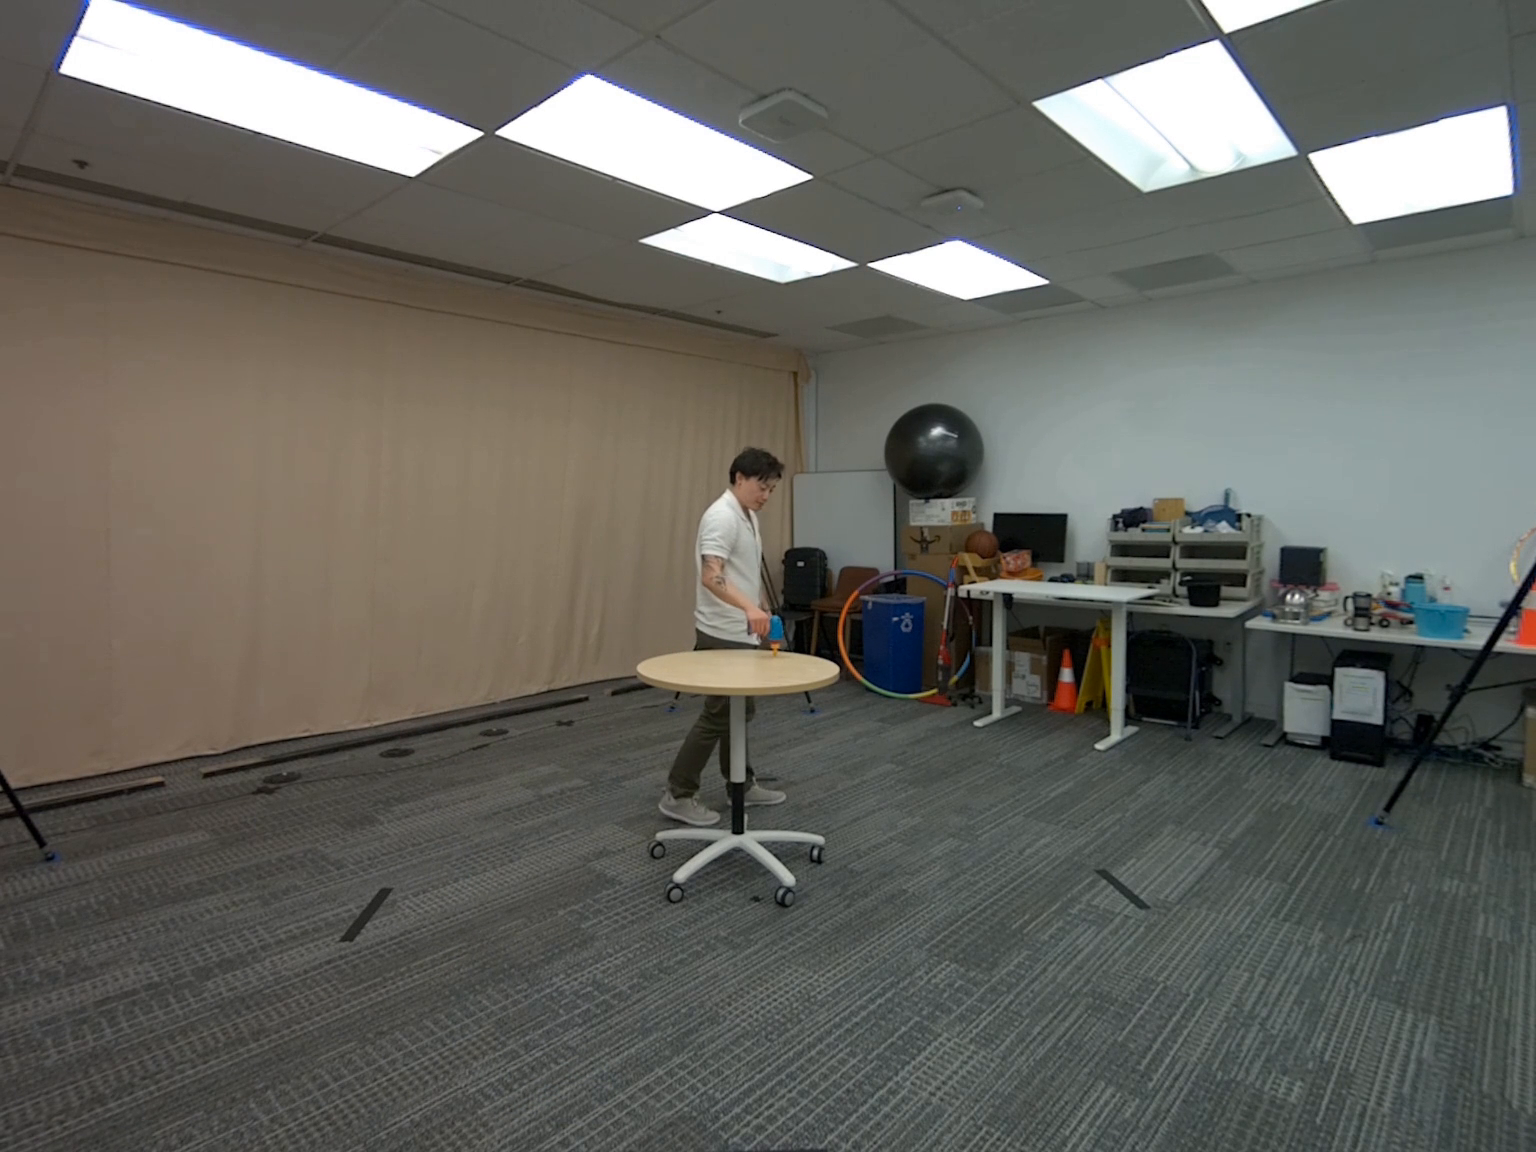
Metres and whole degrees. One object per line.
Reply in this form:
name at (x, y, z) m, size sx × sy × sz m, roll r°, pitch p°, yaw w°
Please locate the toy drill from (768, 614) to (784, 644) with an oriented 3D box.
toy drill at (-0.007, 0.241, 3.401) m, size 0.146 × 0.169 × 0.061 m, roll 1°, pitch 7°, yaw 3°
